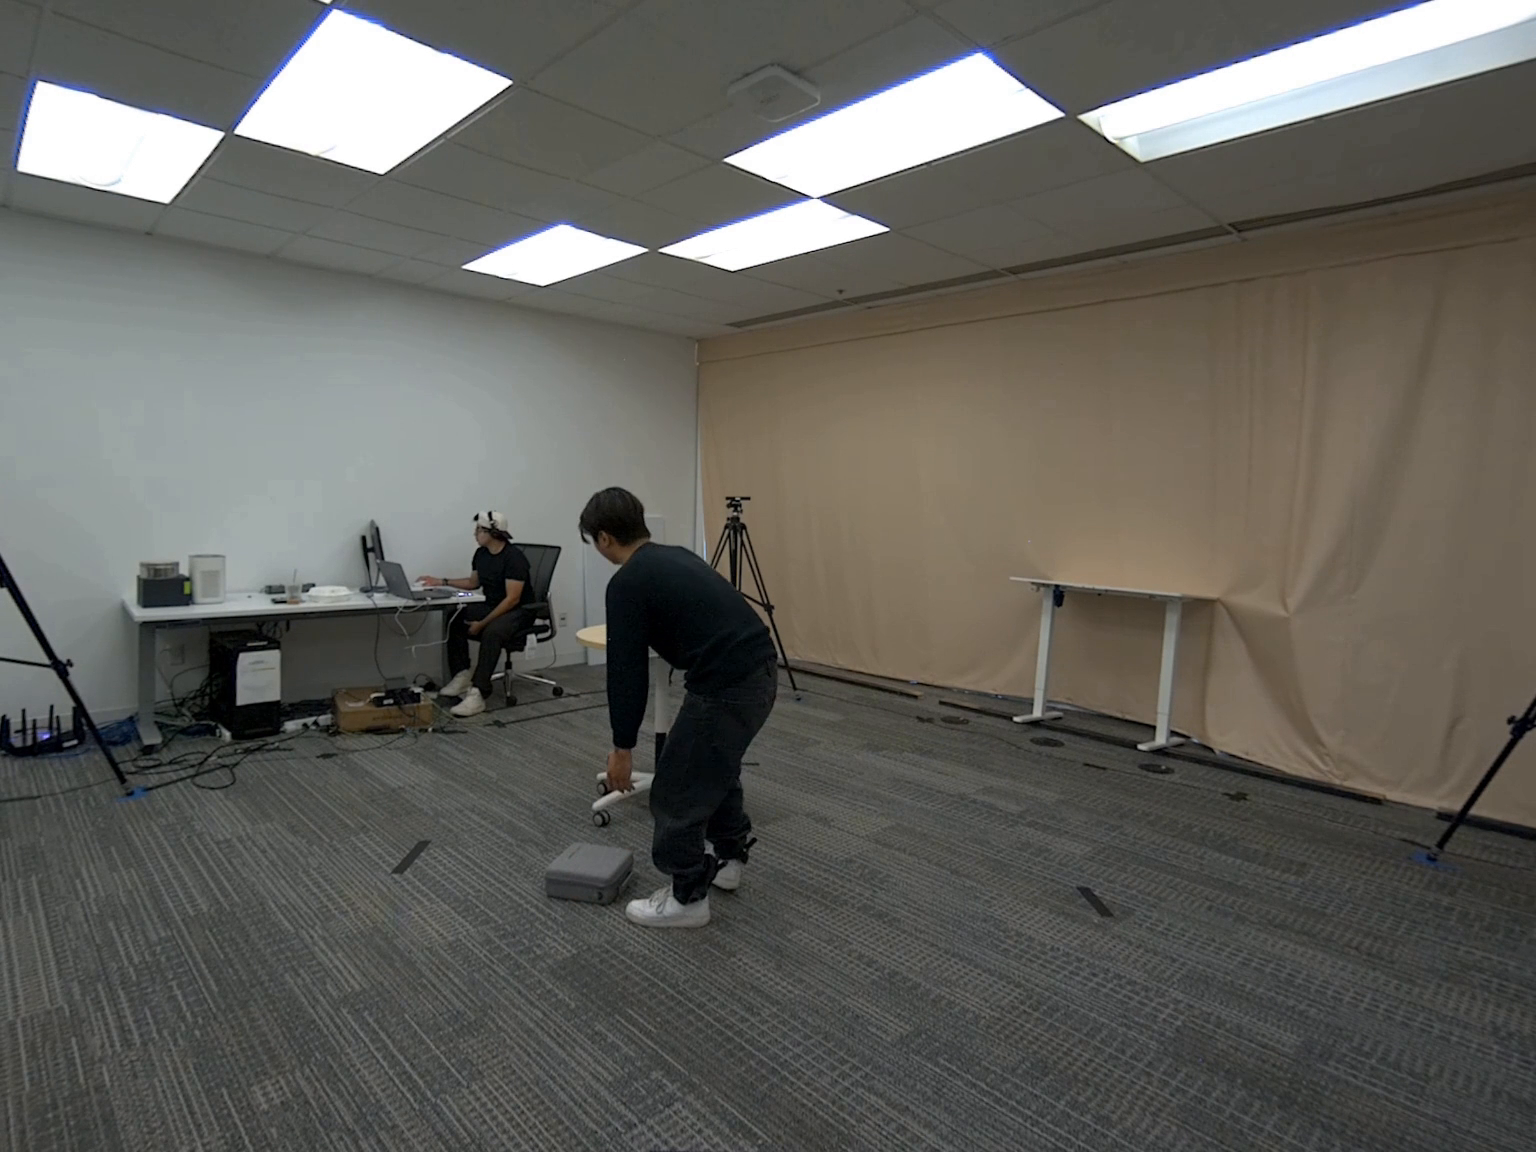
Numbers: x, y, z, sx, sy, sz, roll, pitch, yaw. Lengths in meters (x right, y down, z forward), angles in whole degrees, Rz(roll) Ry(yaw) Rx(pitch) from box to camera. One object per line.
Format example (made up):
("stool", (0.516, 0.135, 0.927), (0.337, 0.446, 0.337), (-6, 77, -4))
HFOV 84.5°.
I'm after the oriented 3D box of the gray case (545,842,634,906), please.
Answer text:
("gray case", (-0.629, 1.043, 2.996), (0.264, 0.104, 0.255), (3, 5, 13))
